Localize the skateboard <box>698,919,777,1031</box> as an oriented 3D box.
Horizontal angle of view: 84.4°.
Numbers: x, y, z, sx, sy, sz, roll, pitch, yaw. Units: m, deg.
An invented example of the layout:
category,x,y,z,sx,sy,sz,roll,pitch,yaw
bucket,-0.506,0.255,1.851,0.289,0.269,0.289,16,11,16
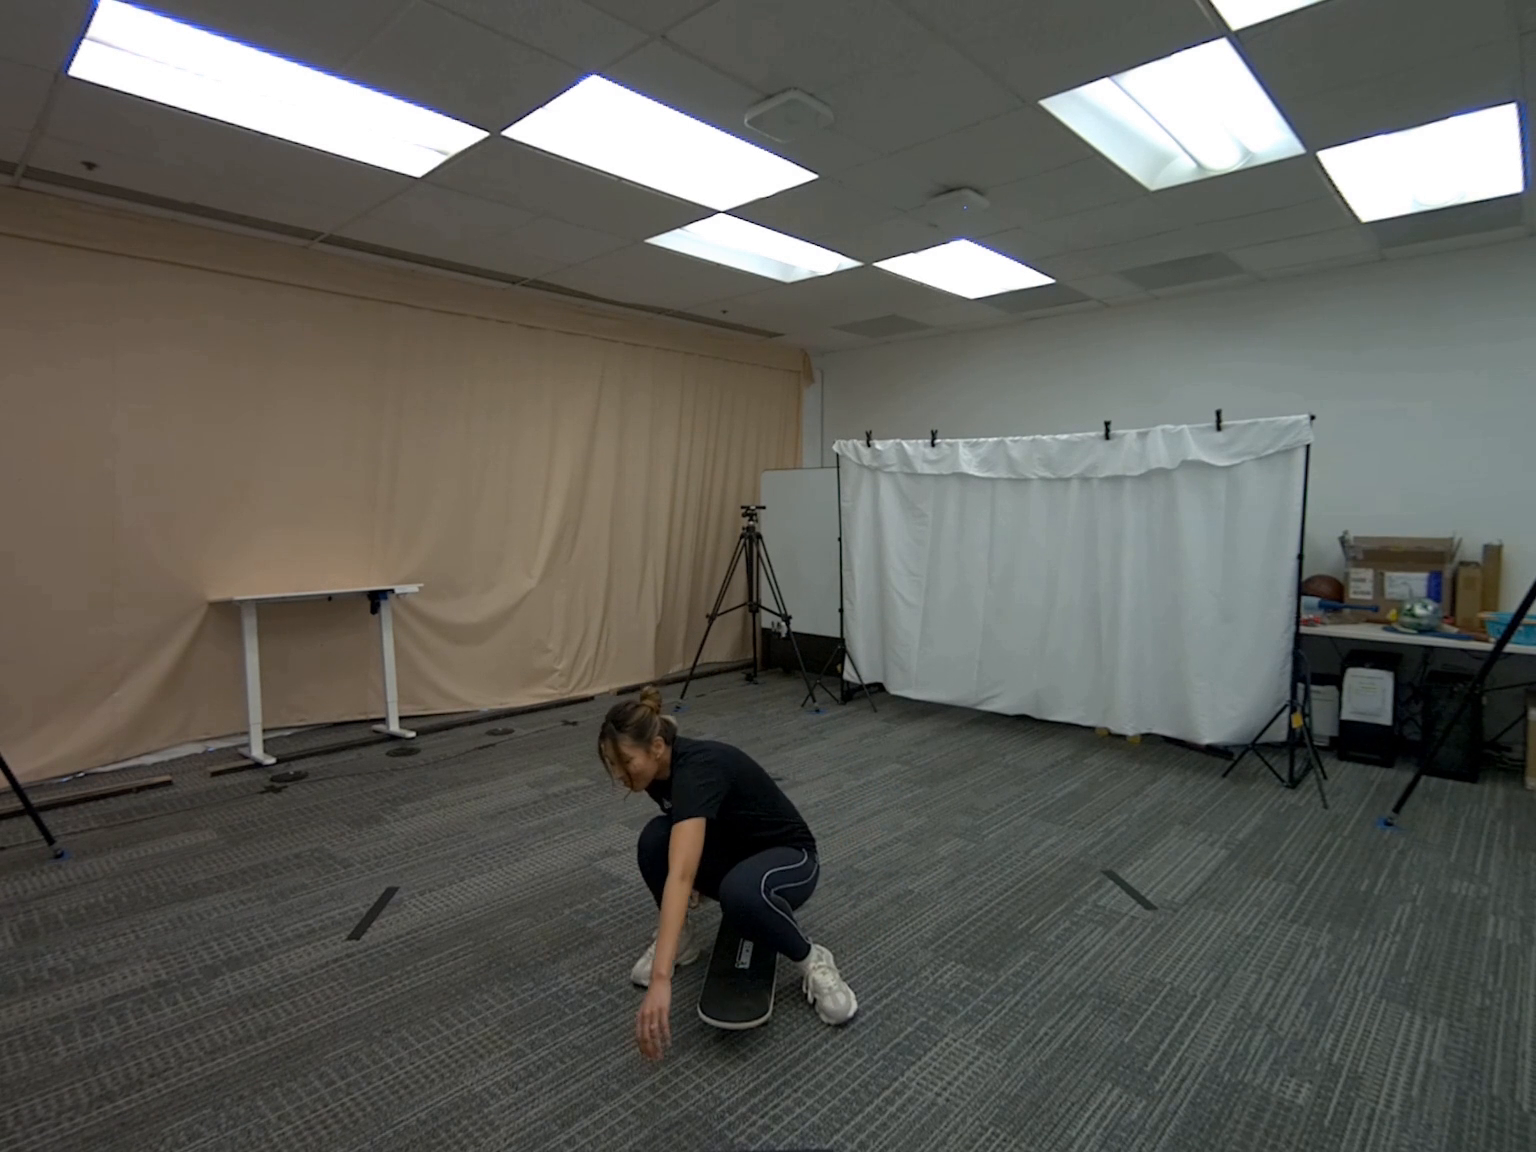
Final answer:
category,x,y,z,sx,sy,sz,roll,pitch,yaw
skateboard,-0.067,1.125,2.475,0.195,0.110,0.782,0,4,4
